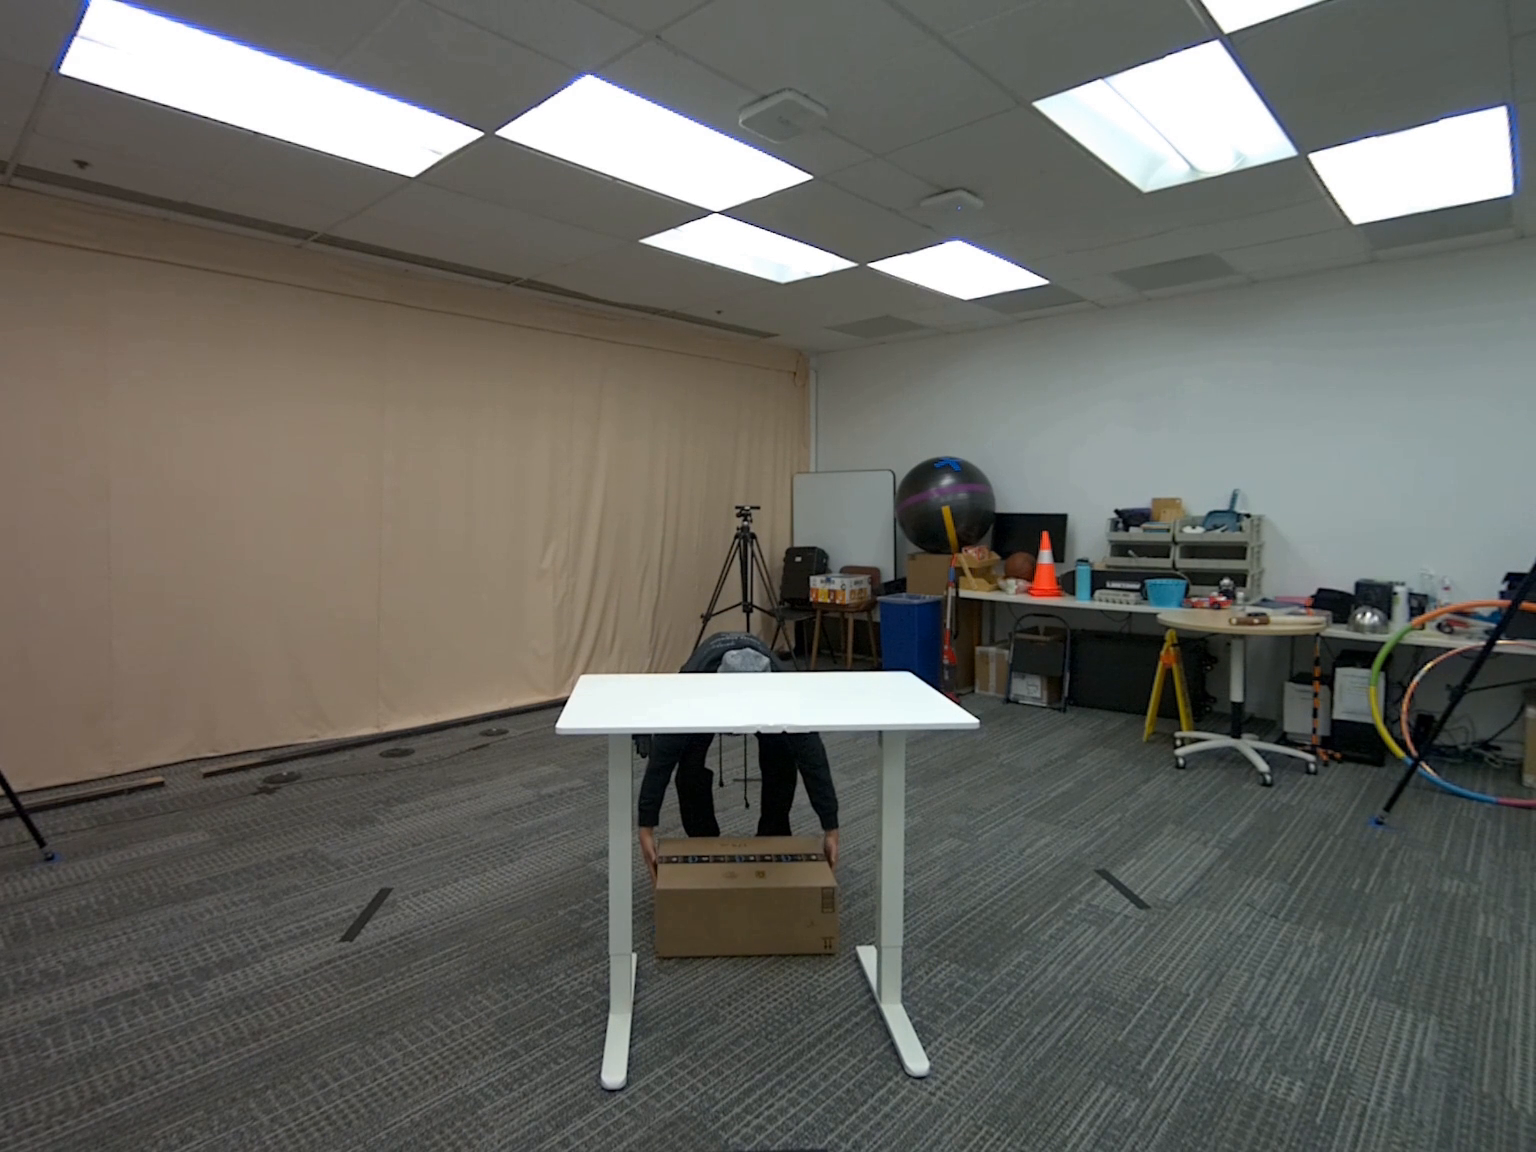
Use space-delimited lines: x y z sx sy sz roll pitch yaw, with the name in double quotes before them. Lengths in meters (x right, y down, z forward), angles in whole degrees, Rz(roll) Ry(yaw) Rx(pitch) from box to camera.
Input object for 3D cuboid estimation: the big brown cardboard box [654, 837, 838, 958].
"big brown cardboard box" -0.084 1.048 2.791 0.587 0.232 0.420 -1 4 -3
